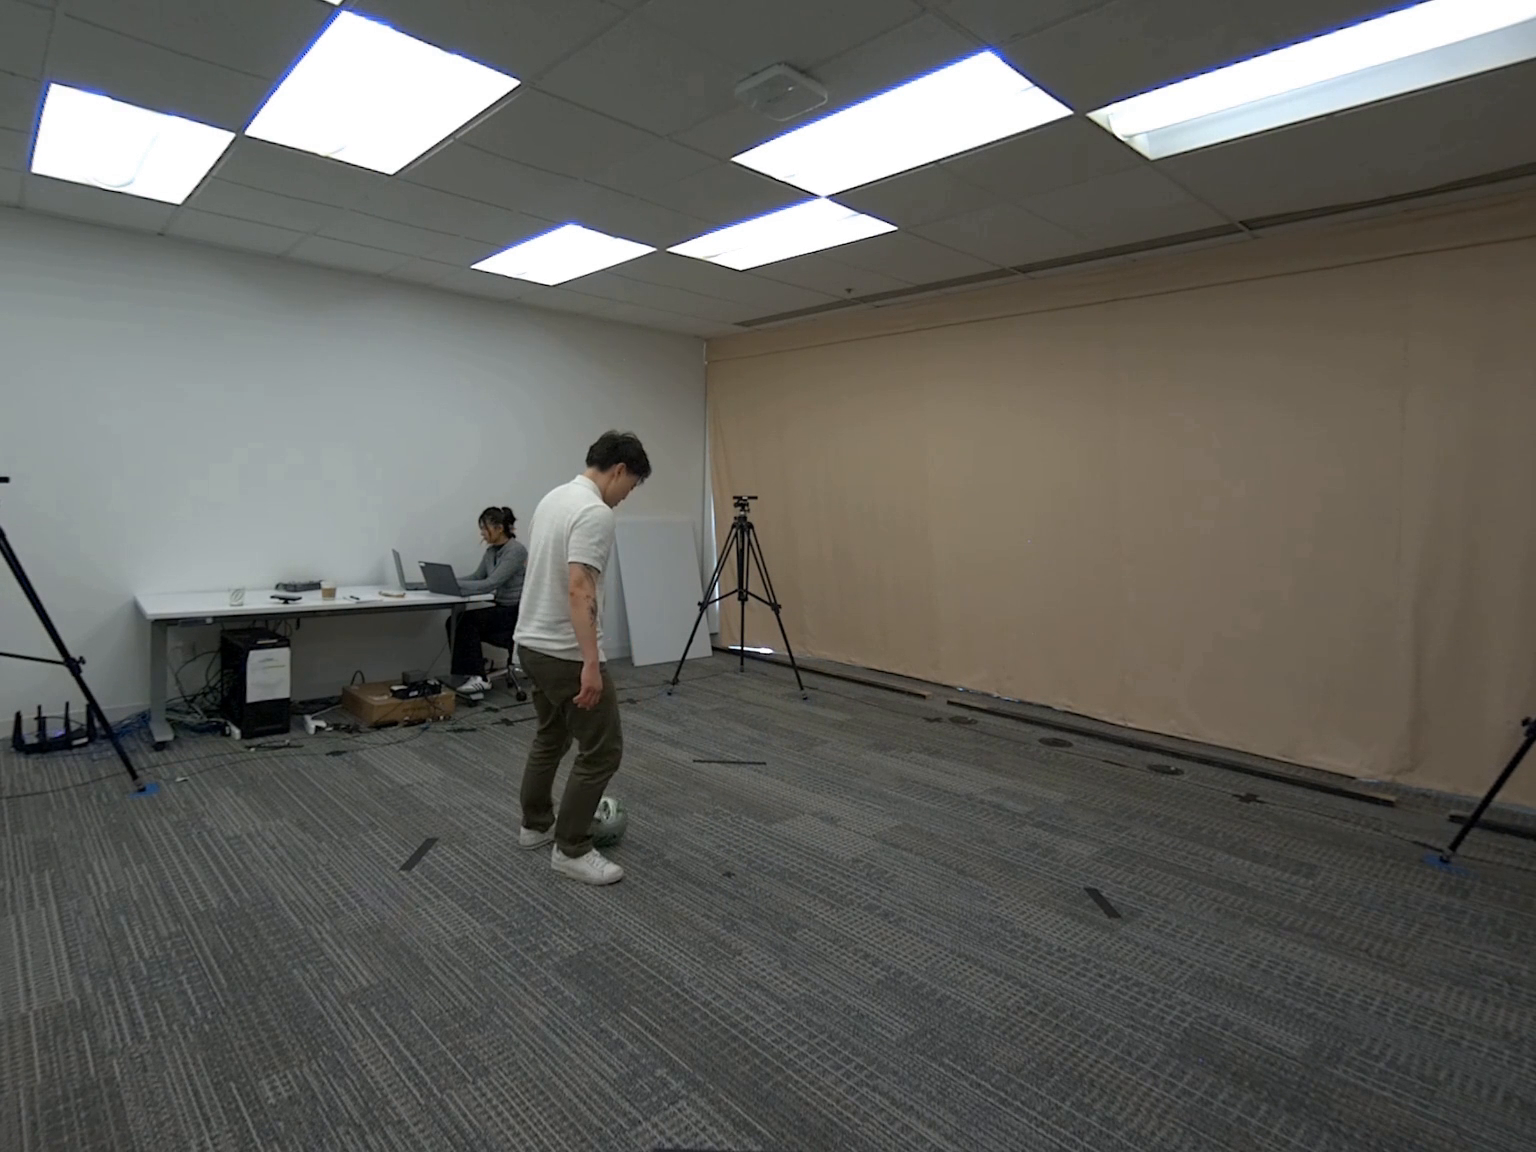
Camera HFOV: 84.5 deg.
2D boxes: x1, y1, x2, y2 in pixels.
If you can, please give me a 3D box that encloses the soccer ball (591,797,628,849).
[{"bbox_3d":[-0.660,0.974,3.348,0.187,0.187,0.188,1,4,-1],"label":"soccer ball"}]
